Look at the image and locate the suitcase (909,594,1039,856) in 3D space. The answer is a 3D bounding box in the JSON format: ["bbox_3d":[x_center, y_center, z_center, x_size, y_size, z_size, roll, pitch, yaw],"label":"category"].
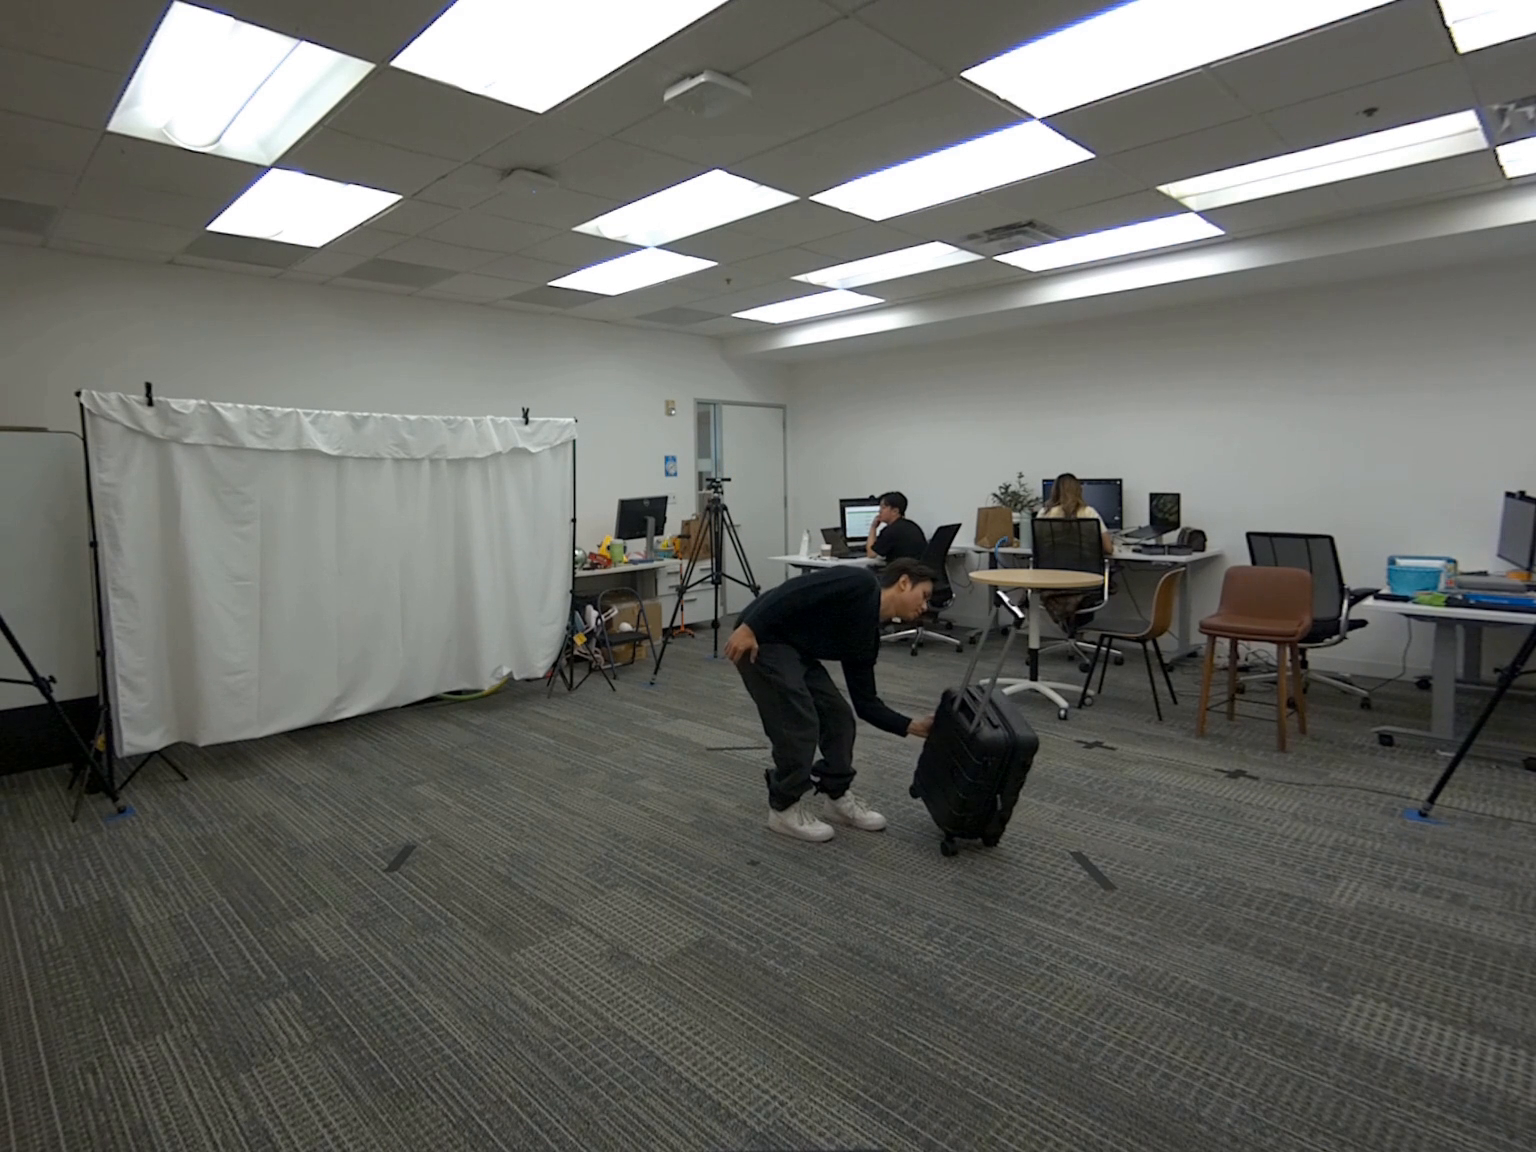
[{"bbox_3d":[0.809,0.525,3.108,0.252,0.964,0.397,5,27,-20],"label":"suitcase"}]
